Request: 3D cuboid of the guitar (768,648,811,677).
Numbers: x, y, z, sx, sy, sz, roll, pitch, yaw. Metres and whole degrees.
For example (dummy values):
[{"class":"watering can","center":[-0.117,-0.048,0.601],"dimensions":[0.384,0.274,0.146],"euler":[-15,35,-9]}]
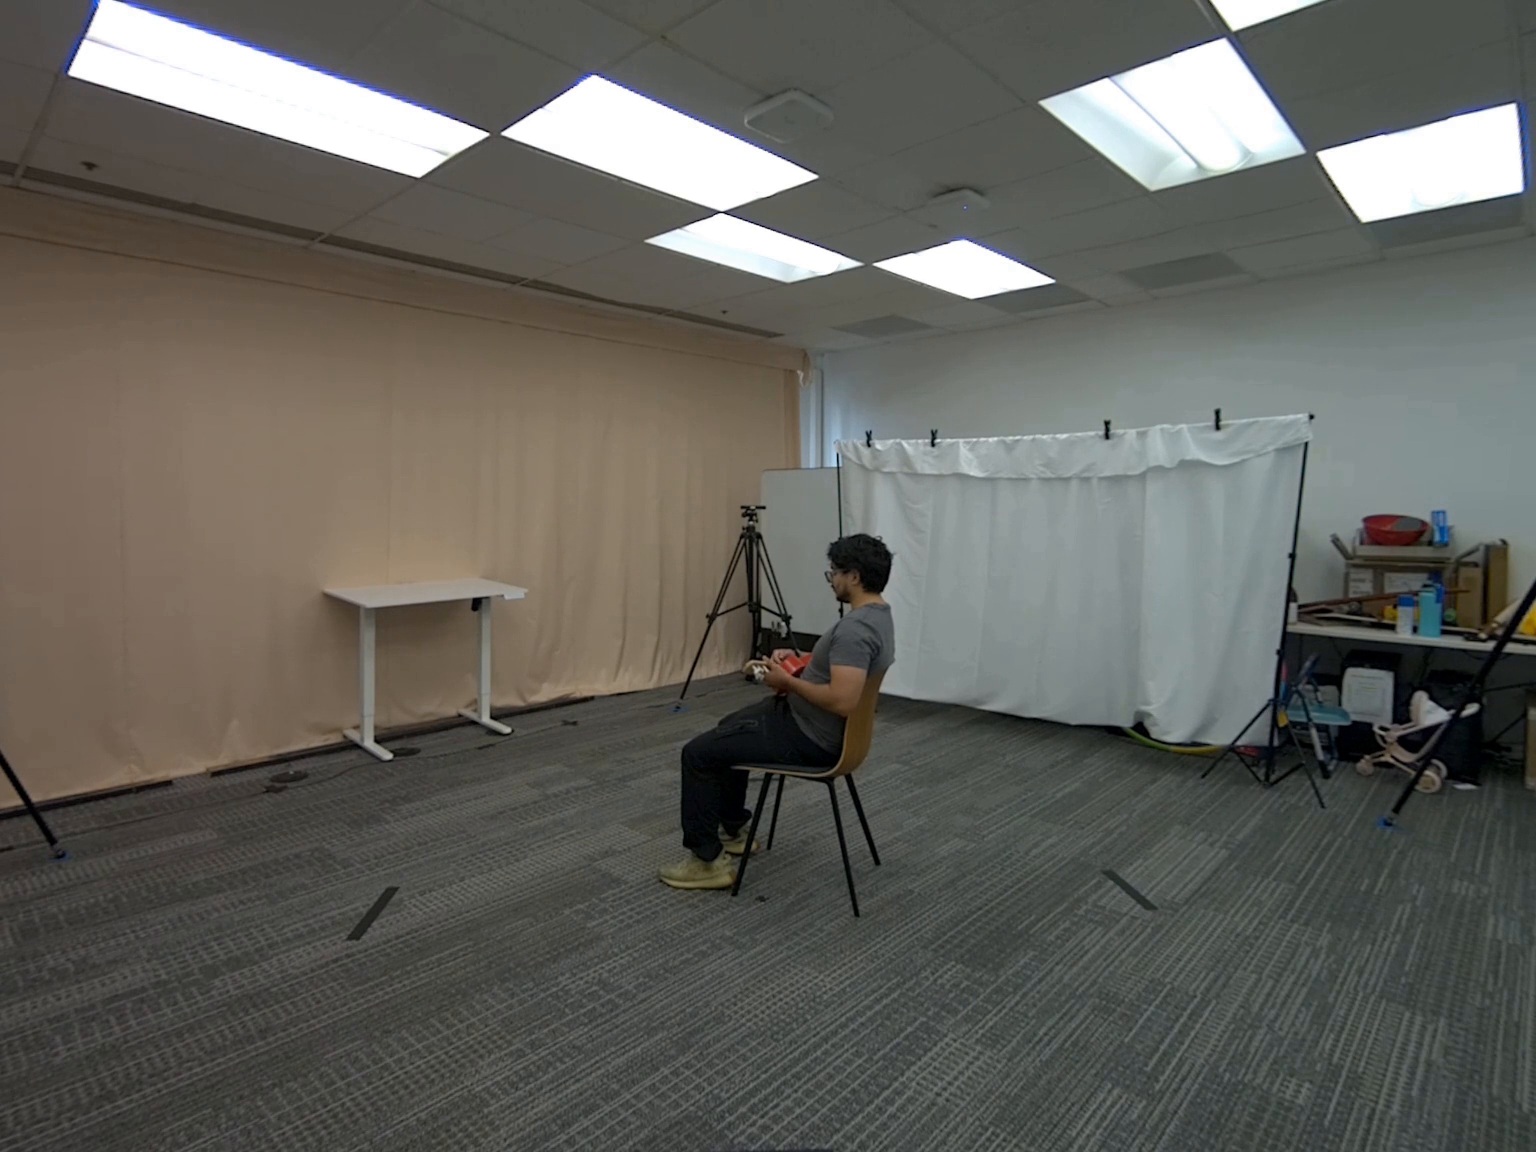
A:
[{"class":"guitar","center":[0.035,0.376,3.081],"dimensions":[0.073,0.193,0.482],"euler":[49,23,25]}]
